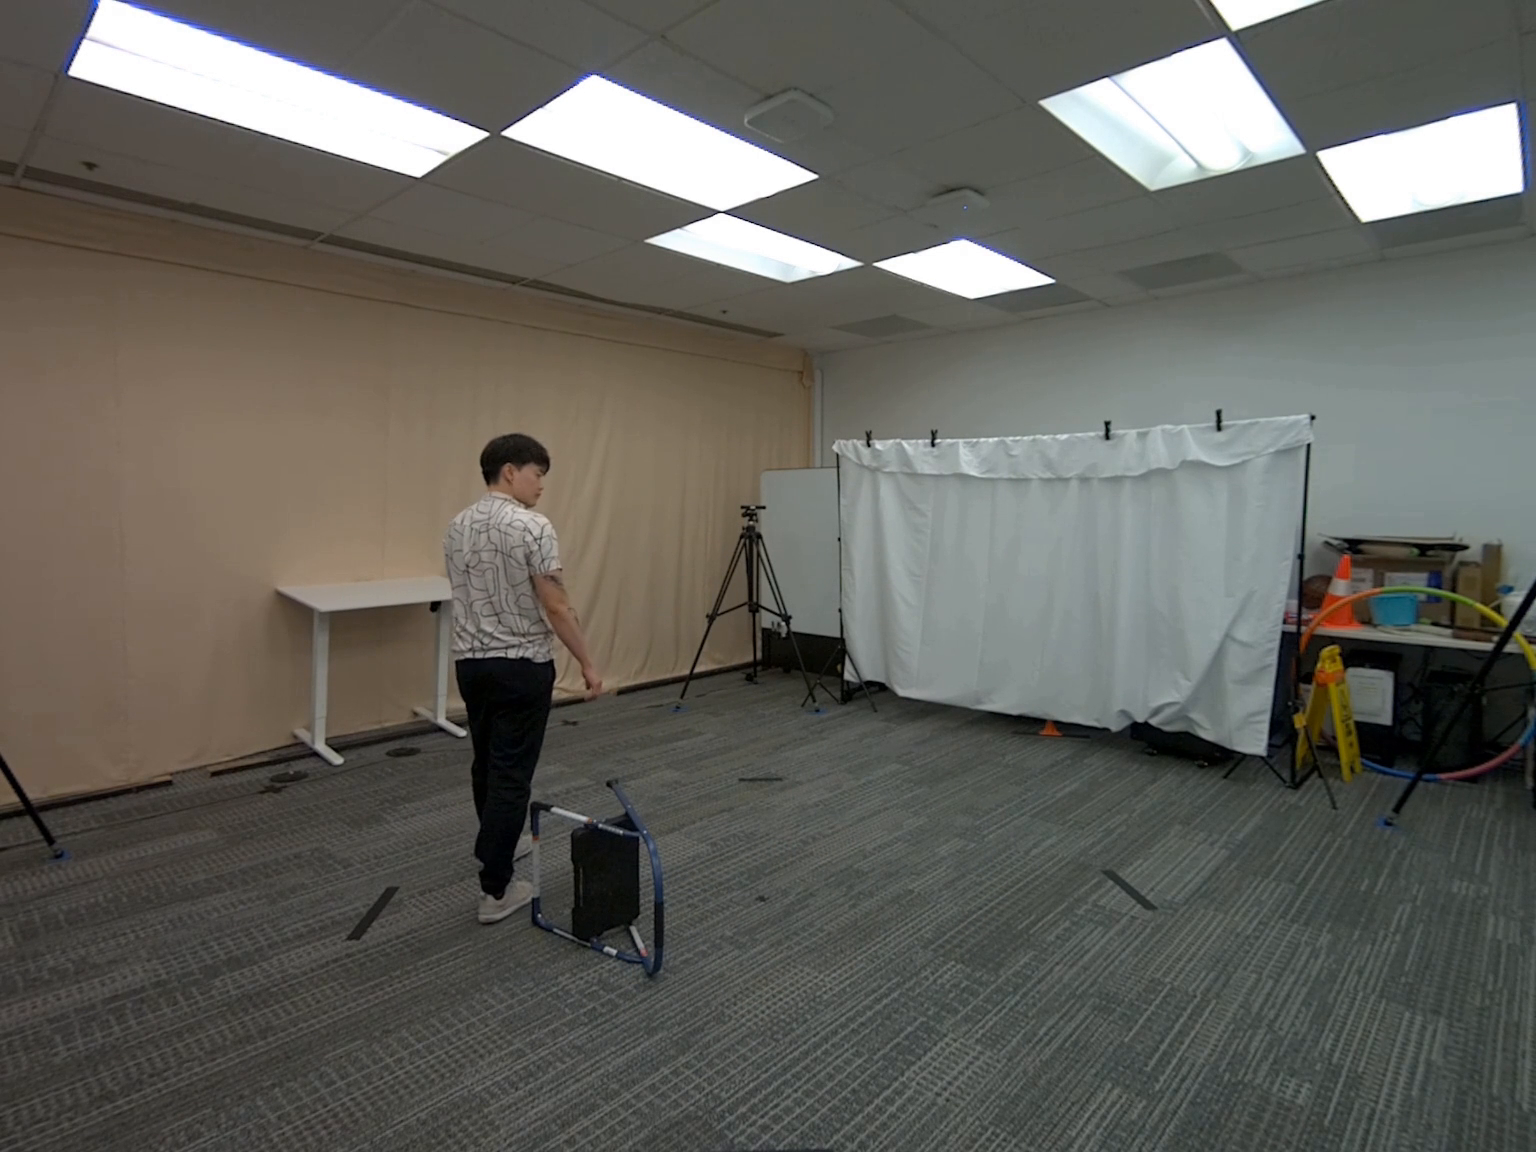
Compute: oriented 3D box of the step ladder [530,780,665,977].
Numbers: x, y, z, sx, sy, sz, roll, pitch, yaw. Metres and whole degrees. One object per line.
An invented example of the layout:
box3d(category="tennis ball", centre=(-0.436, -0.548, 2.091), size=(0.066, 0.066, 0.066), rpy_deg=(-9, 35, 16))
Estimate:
box3d(category="step ladder", centre=(-0.457, 0.962, 2.673), size=(0.339, 0.429, 0.626), rpy_deg=(-5, 6, -42))
